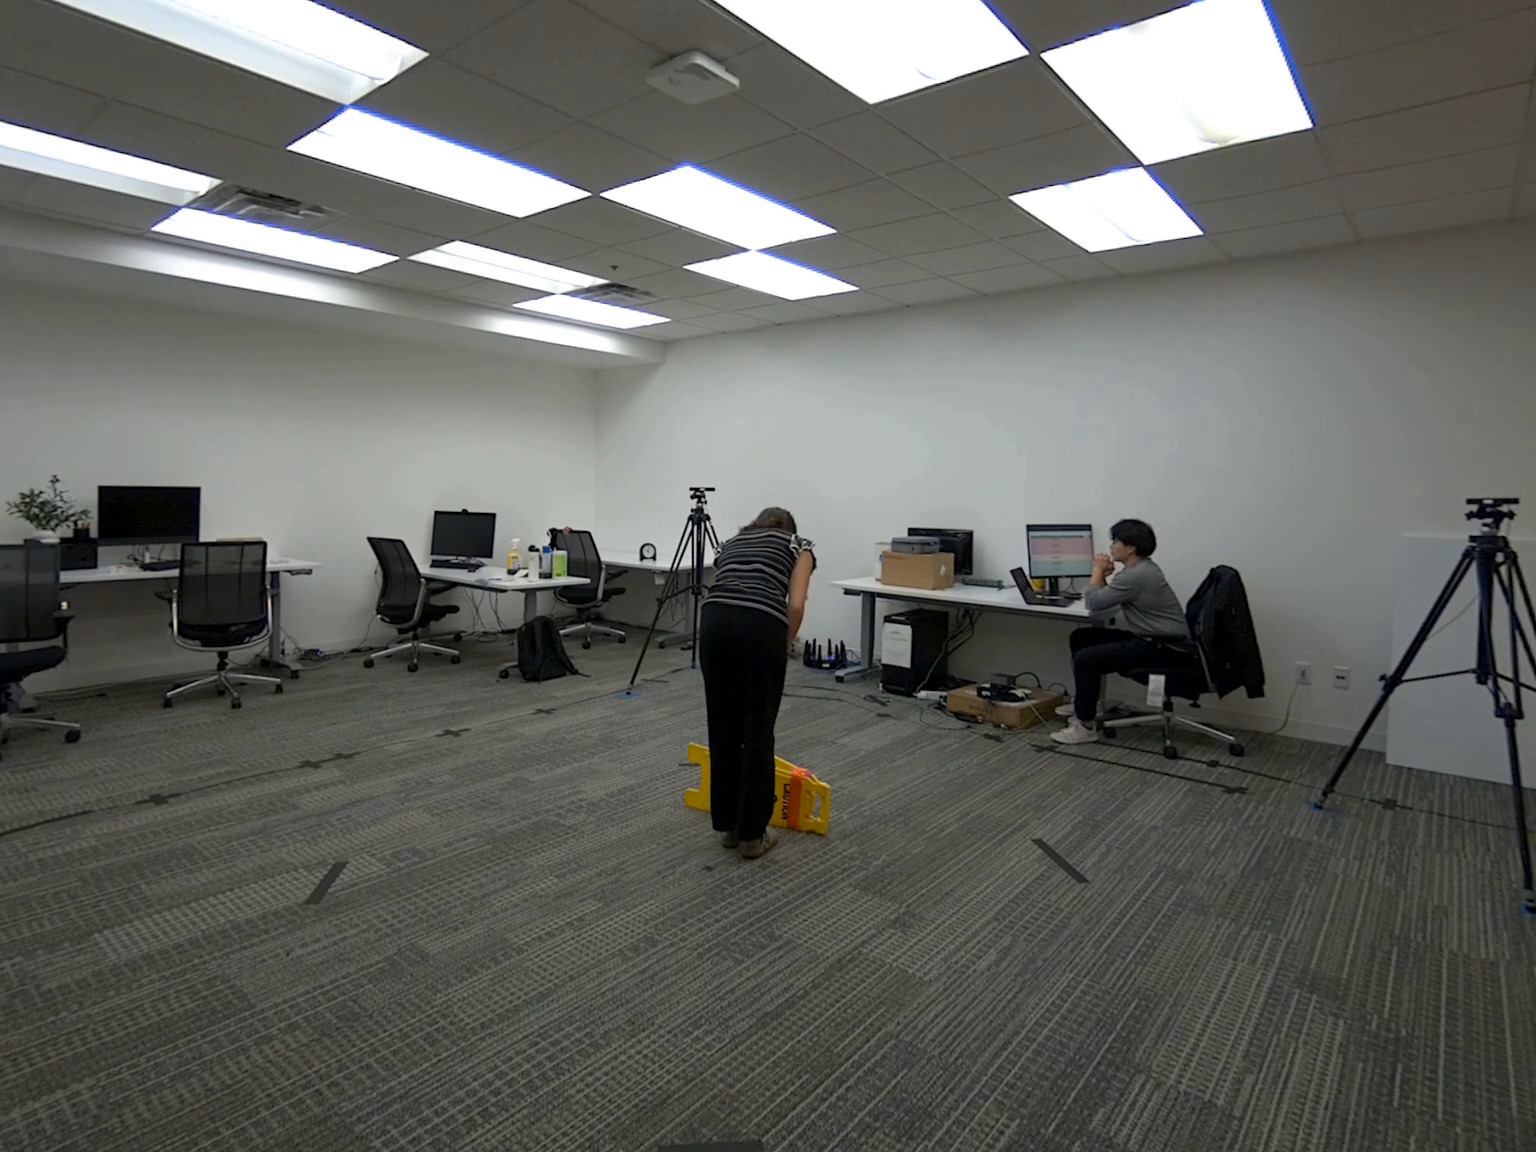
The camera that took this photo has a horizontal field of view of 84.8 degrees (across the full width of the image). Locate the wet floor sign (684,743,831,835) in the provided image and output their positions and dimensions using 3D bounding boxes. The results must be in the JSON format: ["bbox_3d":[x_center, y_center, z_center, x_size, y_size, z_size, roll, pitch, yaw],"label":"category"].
[{"bbox_3d":[-0.029,0.896,3.621,0.668,0.281,0.281,8,6,36],"label":"wet floor sign"}]
